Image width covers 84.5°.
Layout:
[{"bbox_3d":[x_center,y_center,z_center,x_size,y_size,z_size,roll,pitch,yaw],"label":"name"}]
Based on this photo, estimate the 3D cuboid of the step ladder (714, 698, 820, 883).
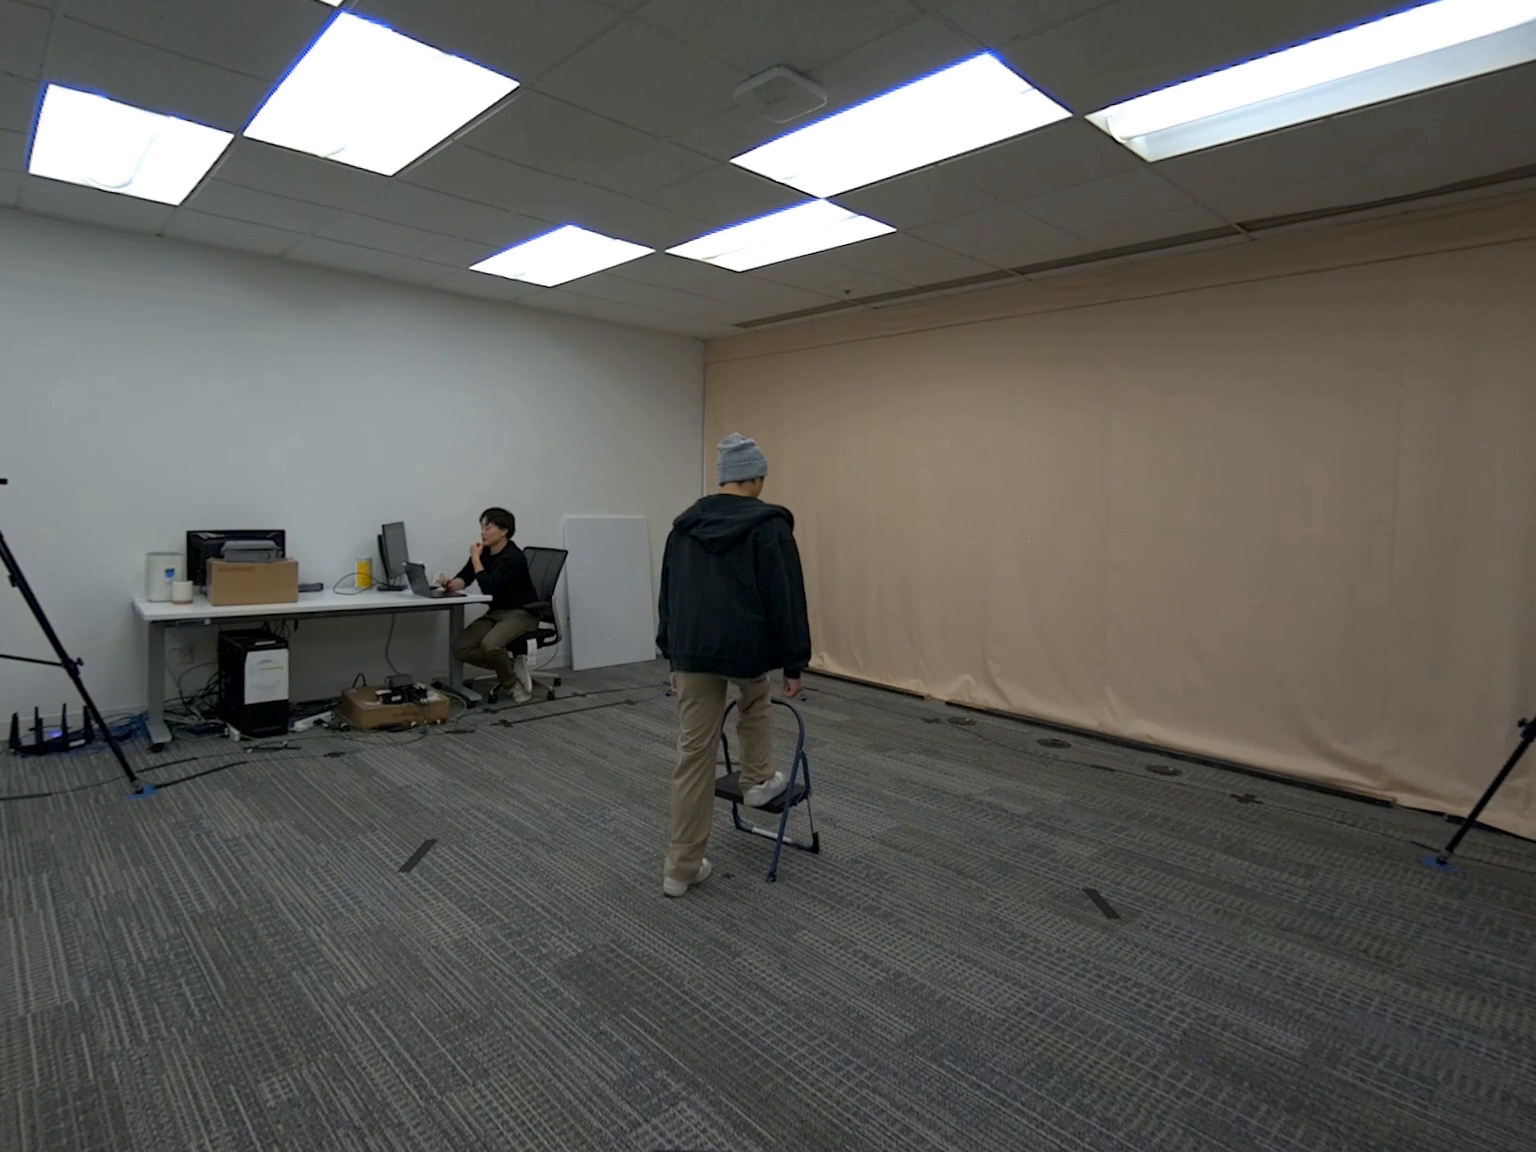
[{"bbox_3d":[-0.054,0.790,3.307,0.441,0.604,0.342,5,4,36],"label":"step ladder"}]
